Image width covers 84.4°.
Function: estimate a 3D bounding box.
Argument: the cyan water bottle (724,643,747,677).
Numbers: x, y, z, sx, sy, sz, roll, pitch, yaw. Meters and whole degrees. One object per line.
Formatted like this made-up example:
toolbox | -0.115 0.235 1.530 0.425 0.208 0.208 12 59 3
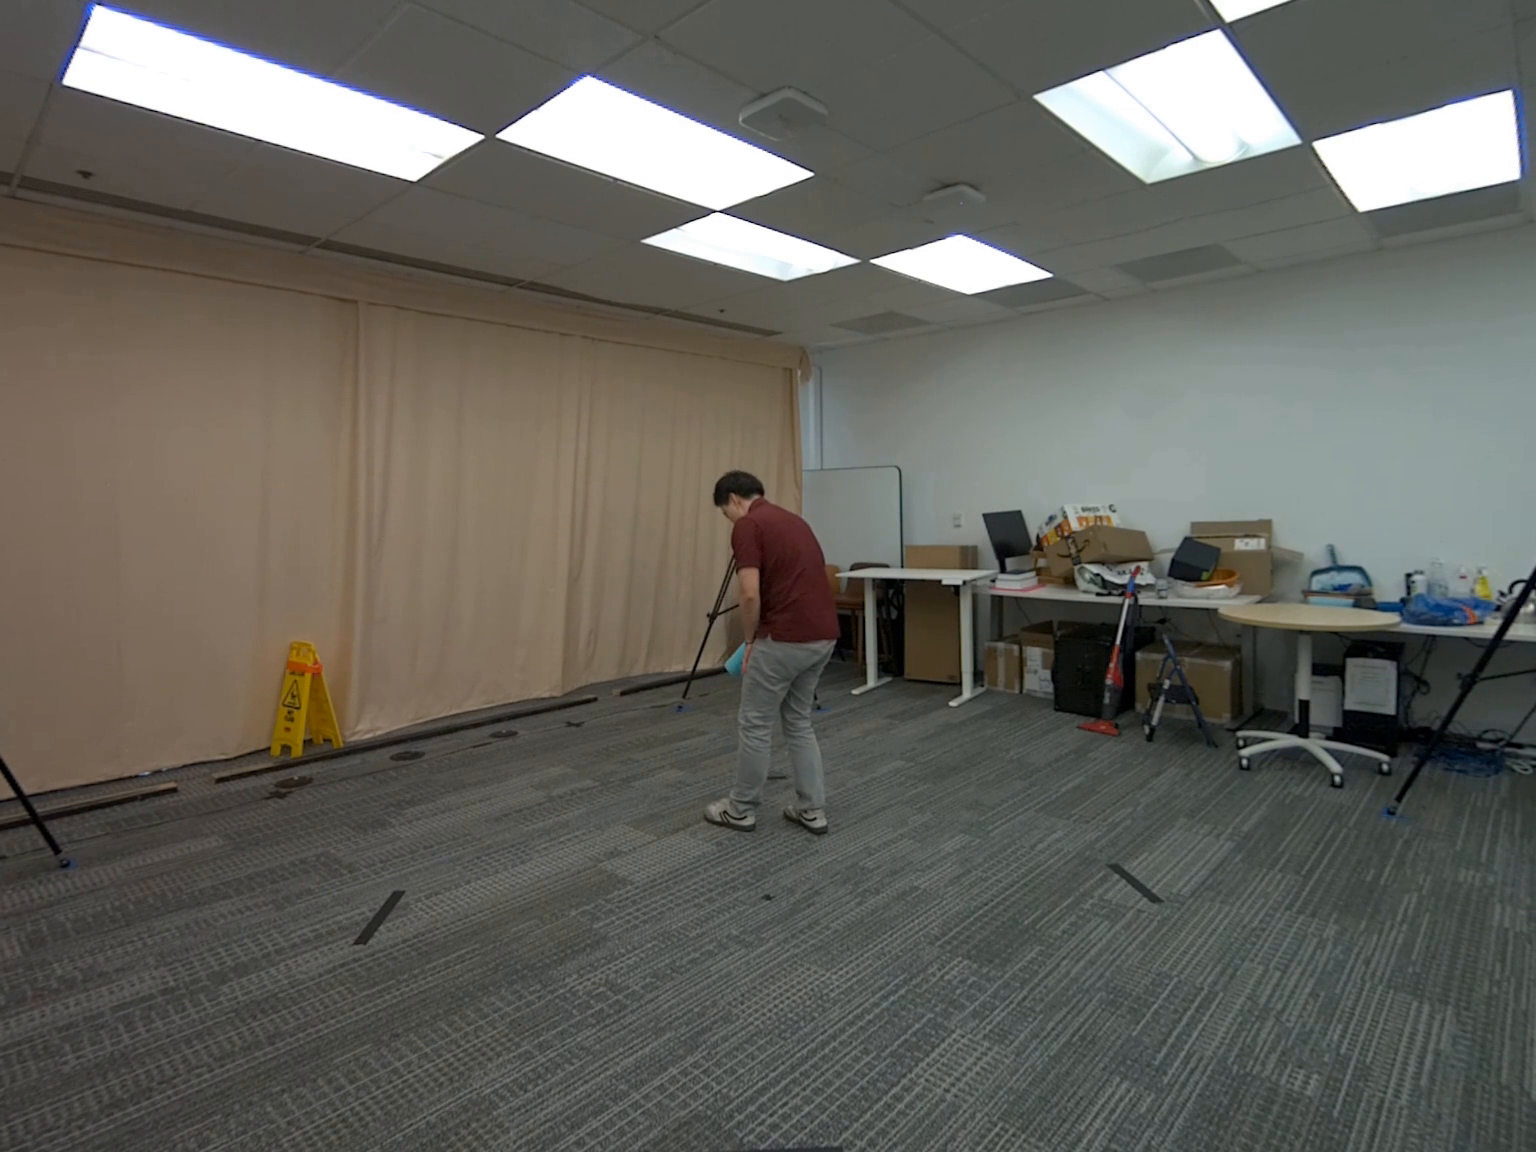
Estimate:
cyan water bottle | -0.086 0.340 3.887 0.091 0.284 0.093 36 17 -15
